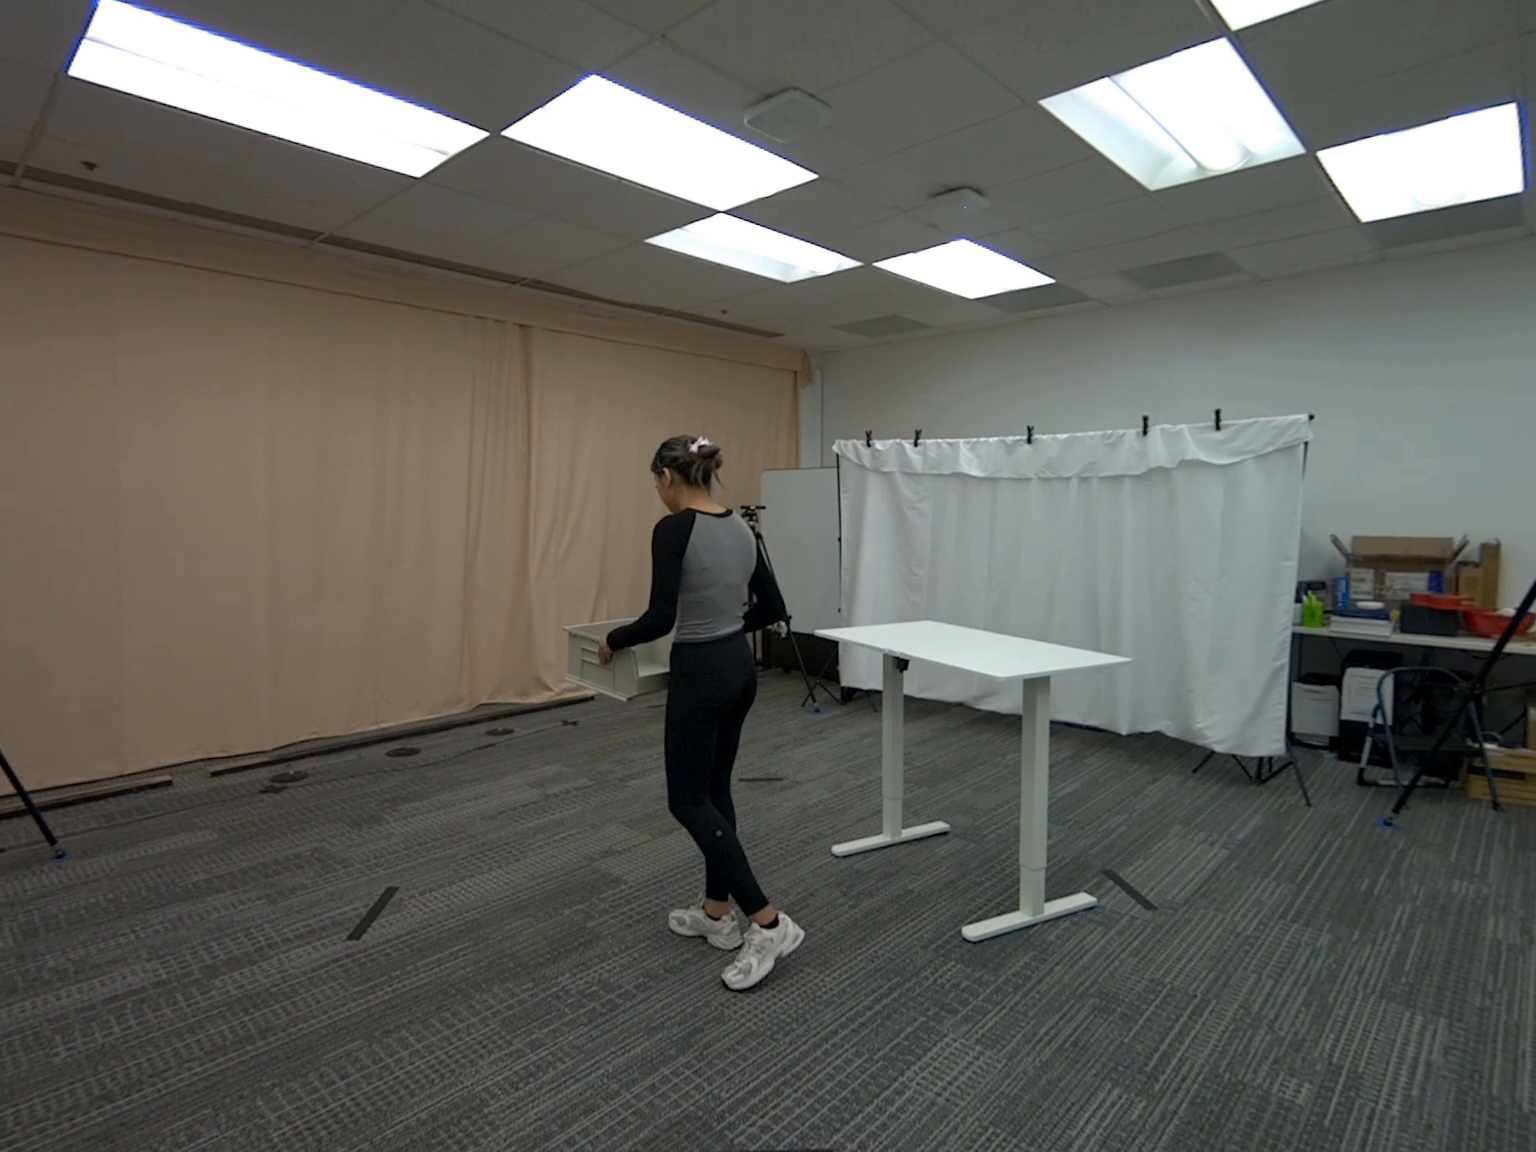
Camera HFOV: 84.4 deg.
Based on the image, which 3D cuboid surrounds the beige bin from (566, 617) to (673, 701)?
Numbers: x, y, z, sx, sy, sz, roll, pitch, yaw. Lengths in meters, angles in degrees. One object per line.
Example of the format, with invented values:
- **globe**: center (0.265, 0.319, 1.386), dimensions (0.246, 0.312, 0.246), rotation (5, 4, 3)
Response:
- **beige bin**: center (-0.418, 0.267, 2.874), dimensions (0.390, 0.188, 0.410), rotation (7, 10, 41)
